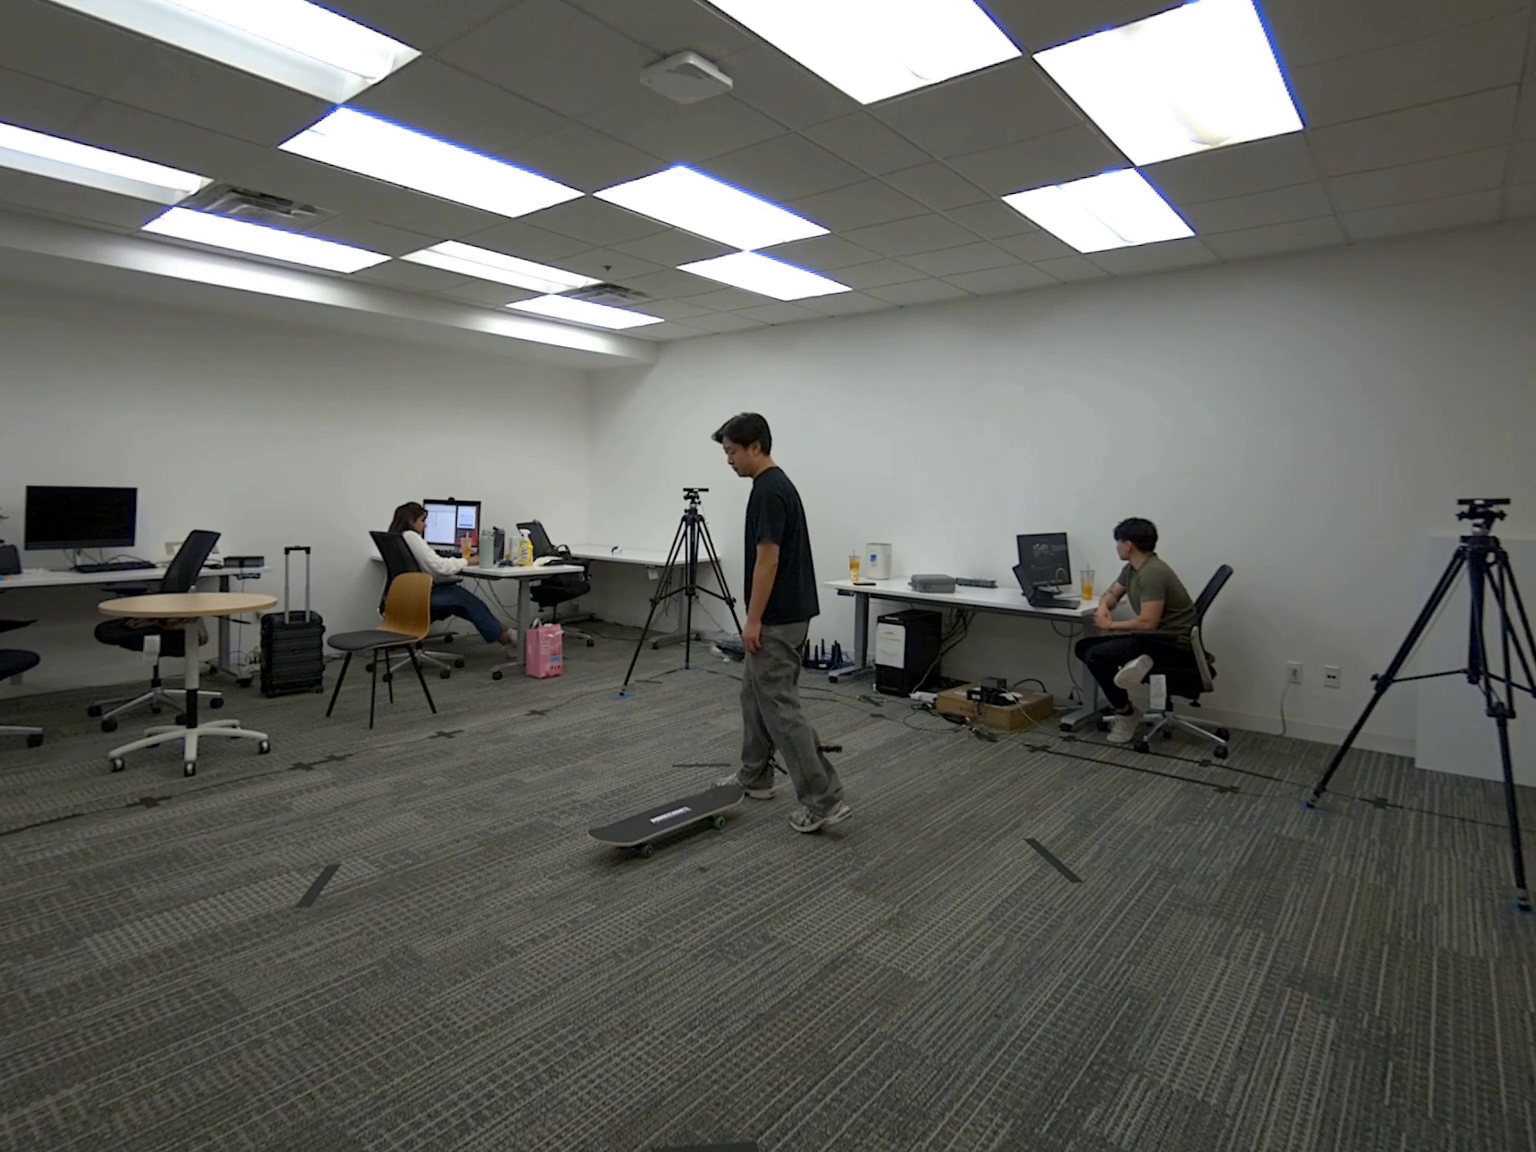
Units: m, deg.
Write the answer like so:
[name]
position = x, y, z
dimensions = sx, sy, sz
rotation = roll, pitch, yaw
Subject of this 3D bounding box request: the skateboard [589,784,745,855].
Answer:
[skateboard]
position = -0.394, 0.983, 3.396
dimensions = 0.200, 0.110, 0.762
rotation = 5, 7, 42
